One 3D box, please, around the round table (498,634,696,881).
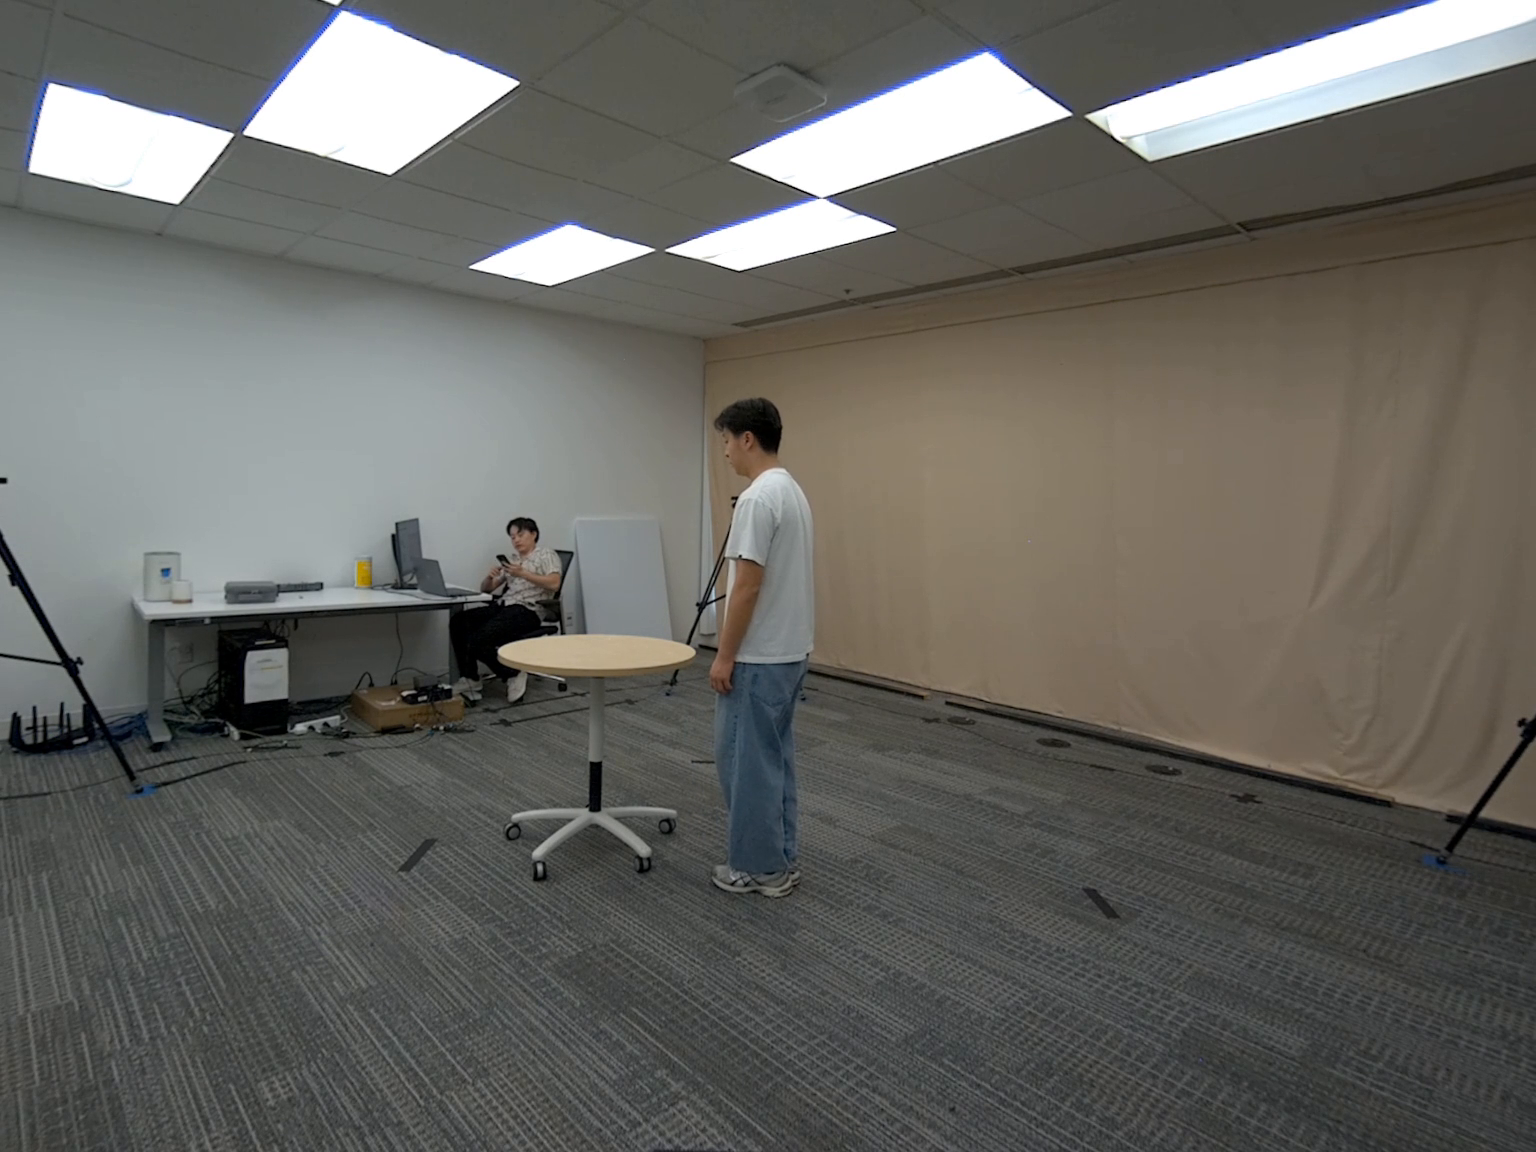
[{"bbox_3d":[-0.685,0.686,3.332,0.763,0.792,0.766,2,3,-1],"label":"round table"}]
